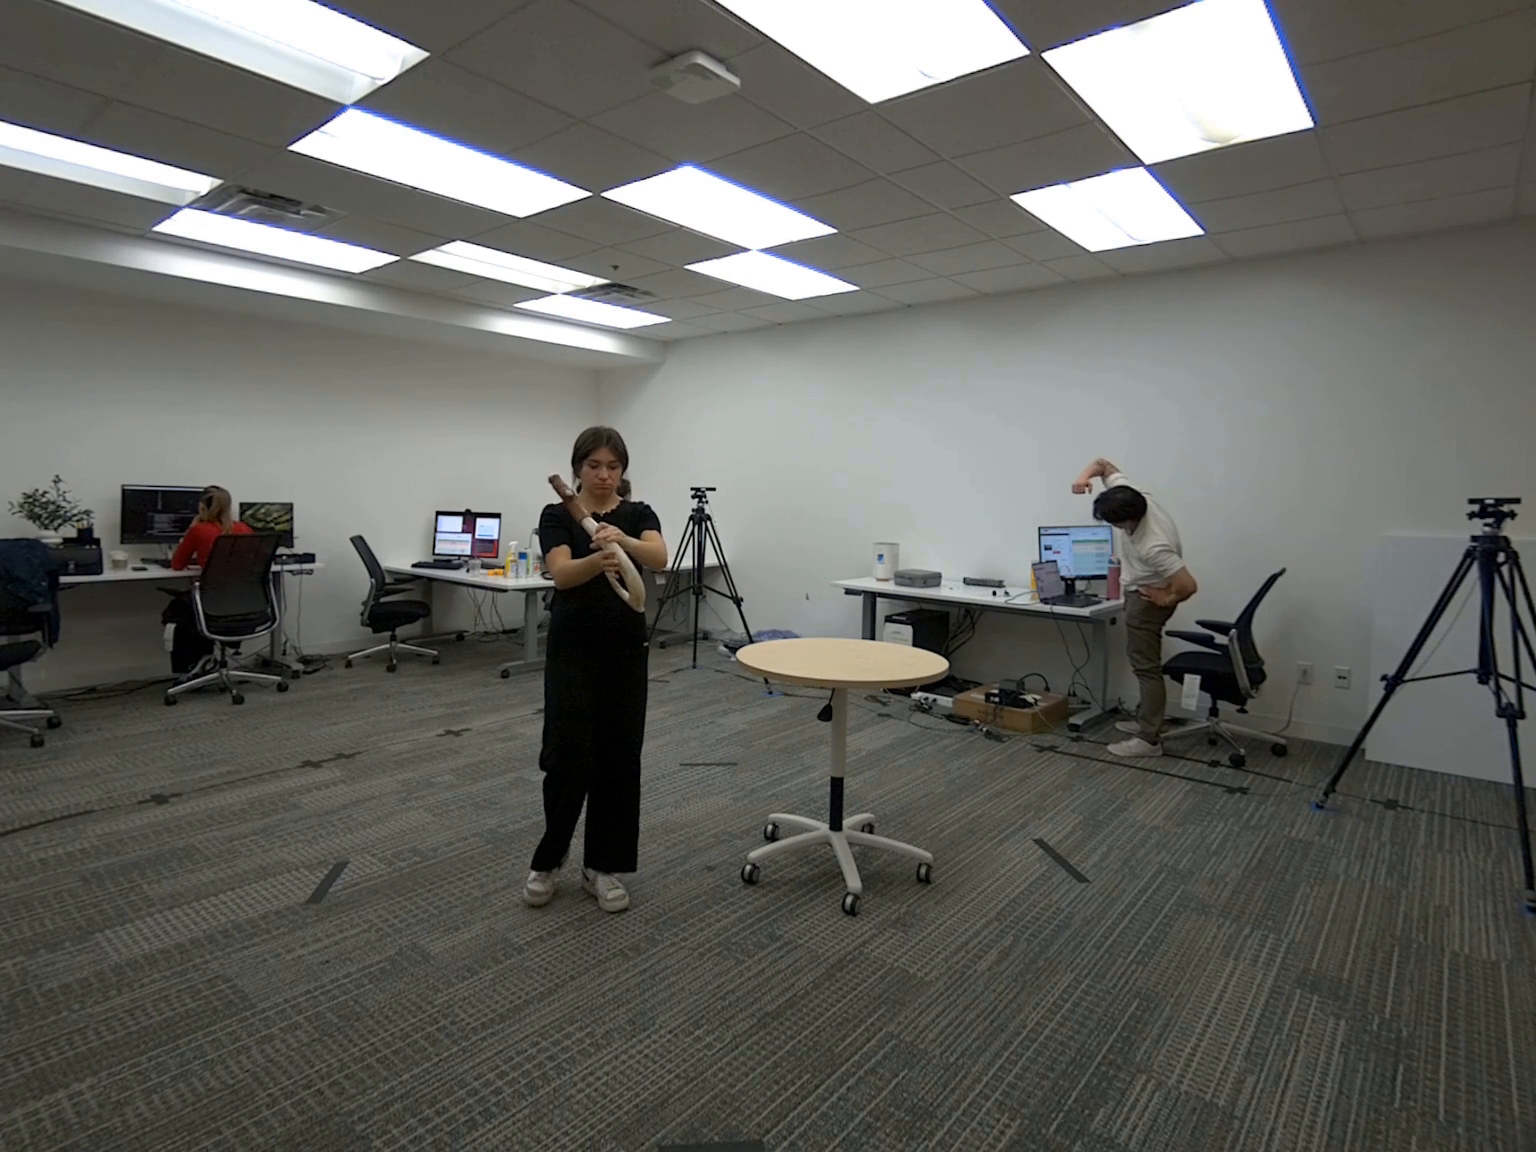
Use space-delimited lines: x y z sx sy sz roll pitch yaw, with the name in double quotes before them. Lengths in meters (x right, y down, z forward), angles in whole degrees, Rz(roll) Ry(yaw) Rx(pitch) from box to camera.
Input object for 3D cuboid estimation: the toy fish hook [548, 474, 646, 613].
"toy fish hook" -0.527 -0.099 2.514 0.048 0.524 0.220 -25 -28 -27
